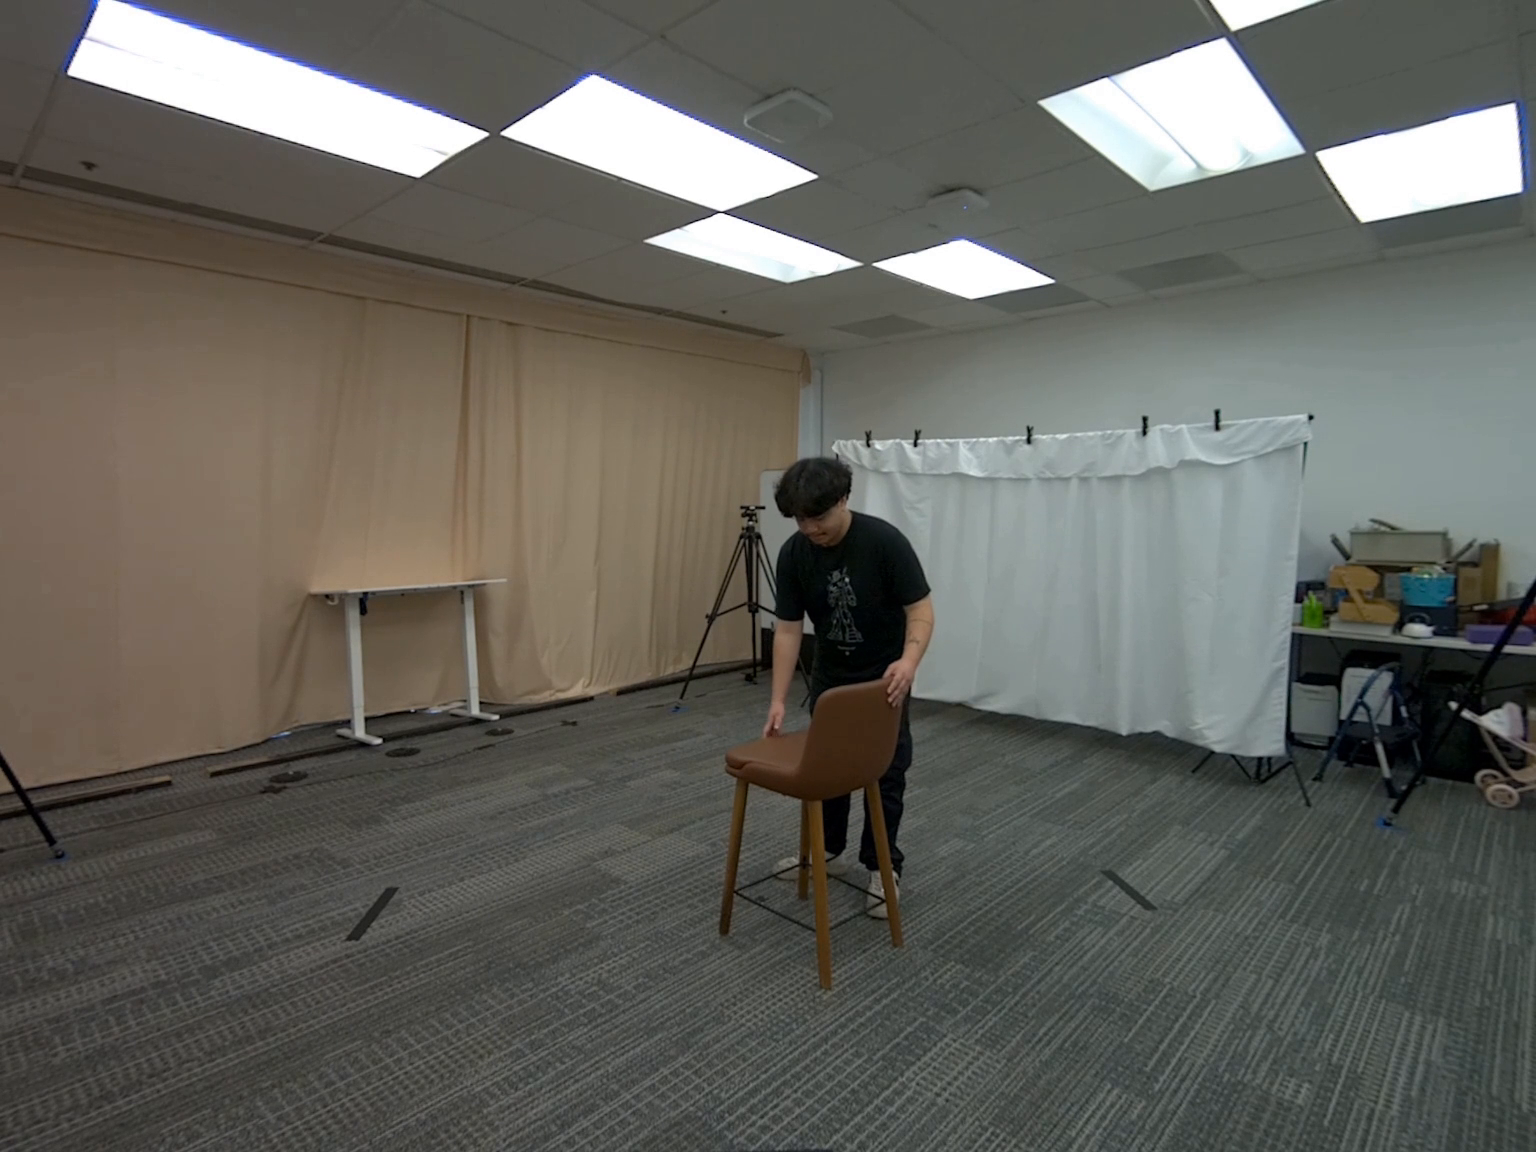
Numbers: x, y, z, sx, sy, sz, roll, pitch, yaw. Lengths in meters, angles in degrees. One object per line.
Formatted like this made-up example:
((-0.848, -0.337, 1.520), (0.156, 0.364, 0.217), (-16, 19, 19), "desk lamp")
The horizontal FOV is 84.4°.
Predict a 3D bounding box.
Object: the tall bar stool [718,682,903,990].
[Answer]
((0.147, 0.731, 2.677), (0.442, 0.887, 0.484), (-3, 7, -42), "tall bar stool")
